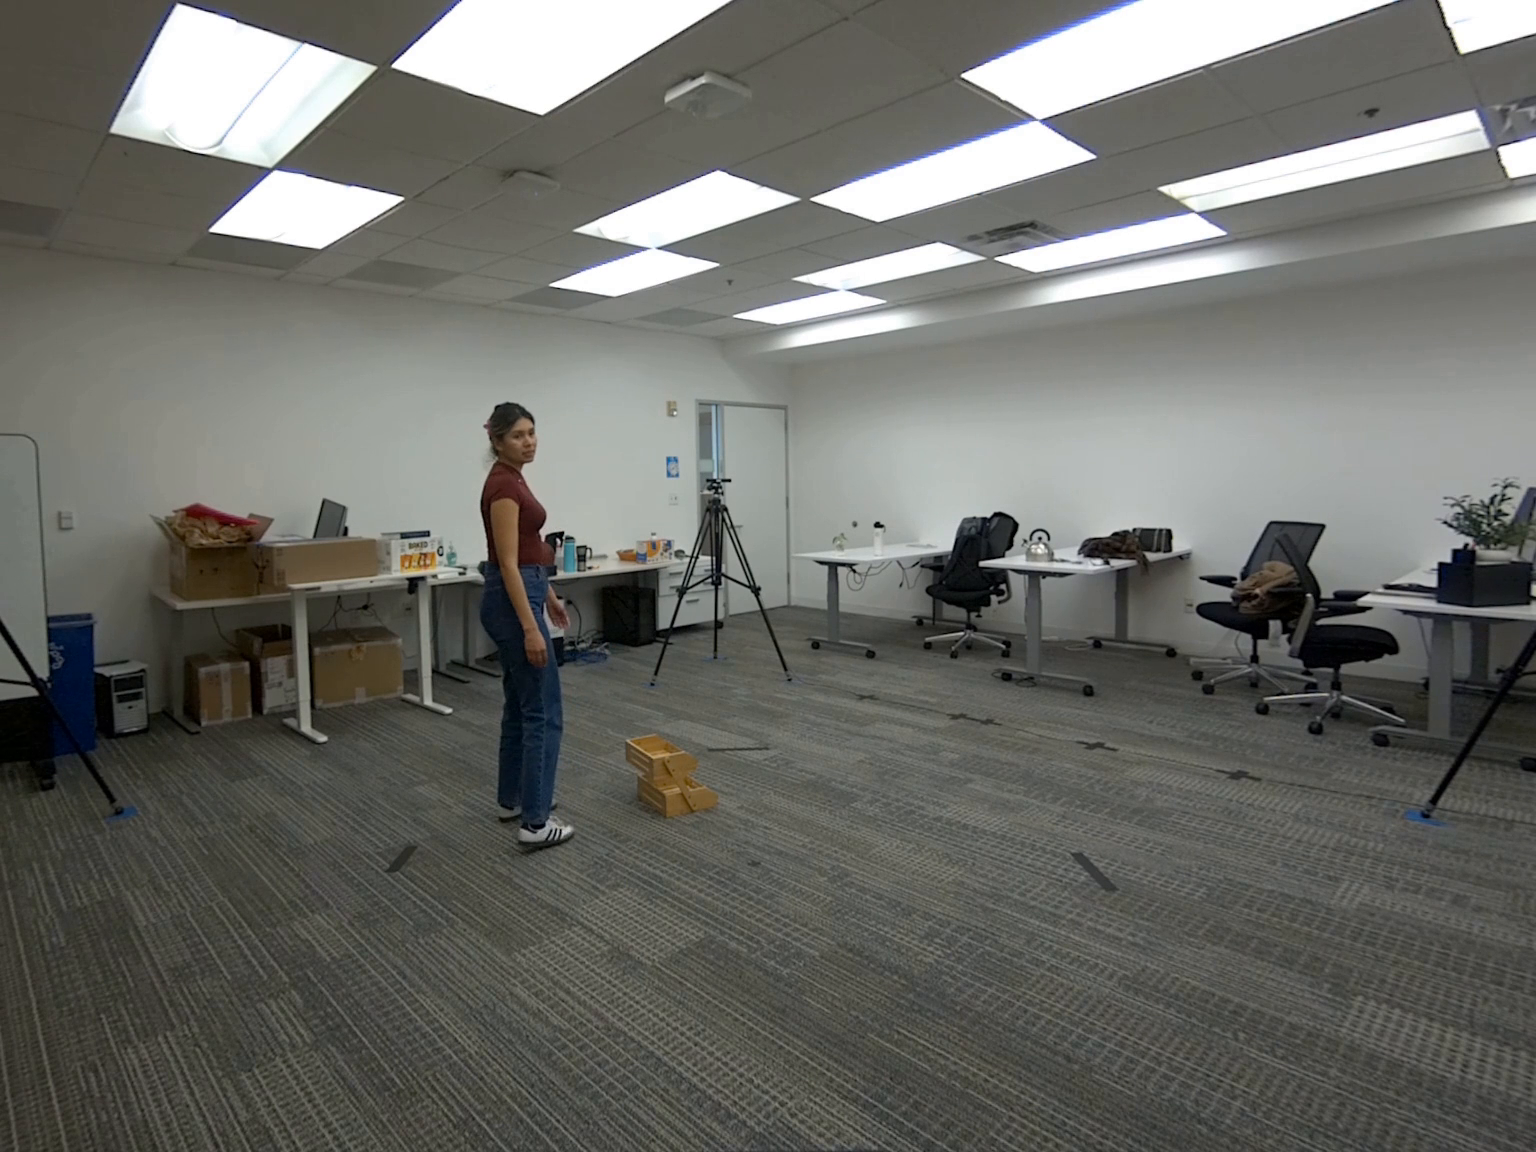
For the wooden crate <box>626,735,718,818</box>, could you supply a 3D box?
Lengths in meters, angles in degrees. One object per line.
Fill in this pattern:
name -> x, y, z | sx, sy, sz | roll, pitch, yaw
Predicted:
wooden crate -> -0.420, 0.848, 3.717 | 0.295, 0.272, 0.333 | -5, 6, -30
